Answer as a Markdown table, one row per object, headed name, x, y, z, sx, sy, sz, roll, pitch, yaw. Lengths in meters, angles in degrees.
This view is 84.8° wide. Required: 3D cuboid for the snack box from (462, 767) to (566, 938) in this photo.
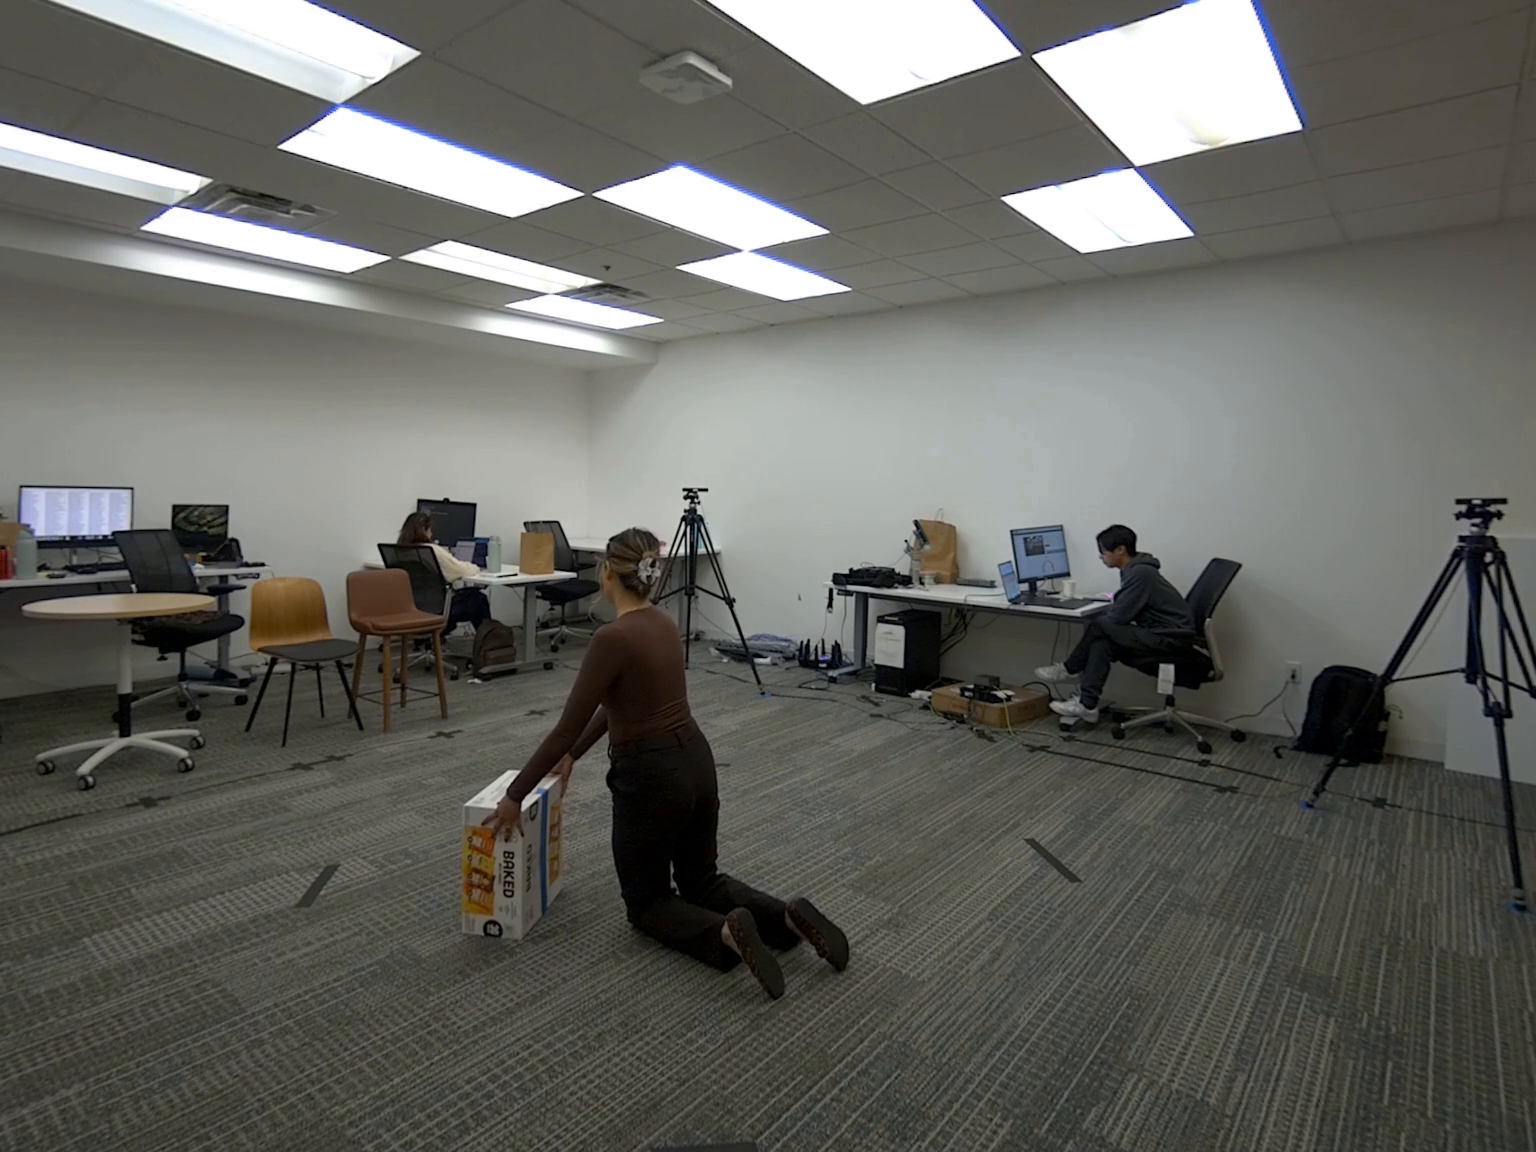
| name | x | y | z | sx | sy | sz | roll | pitch | yaw |
| --- | --- | --- | --- | --- | --- | --- | --- | --- | --- |
| snack box | -0.829 | 0.890 | 2.765 | 0.208 | 0.404 | 0.338 | 1 | 4 | 8 |
